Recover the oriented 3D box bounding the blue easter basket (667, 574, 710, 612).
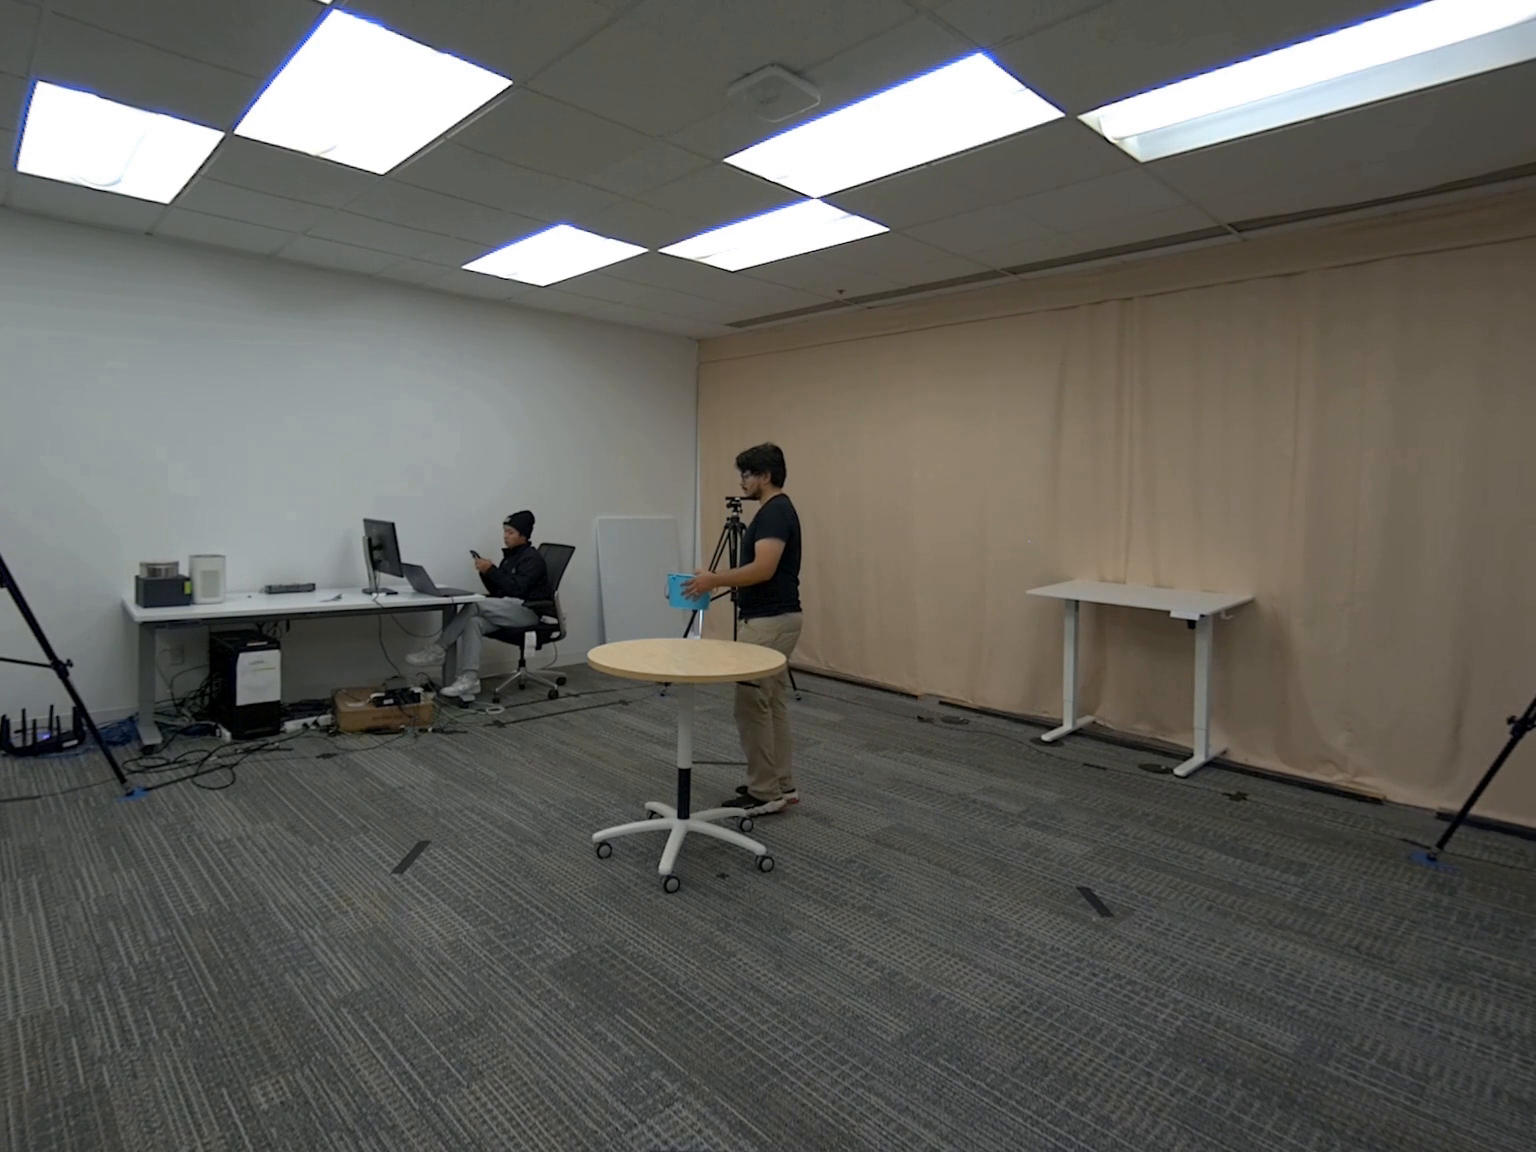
[{"bbox_3d":[-0.373,0.071,3.912,0.243,0.156,0.243,5,0,-1],"label":"blue easter basket"}]
